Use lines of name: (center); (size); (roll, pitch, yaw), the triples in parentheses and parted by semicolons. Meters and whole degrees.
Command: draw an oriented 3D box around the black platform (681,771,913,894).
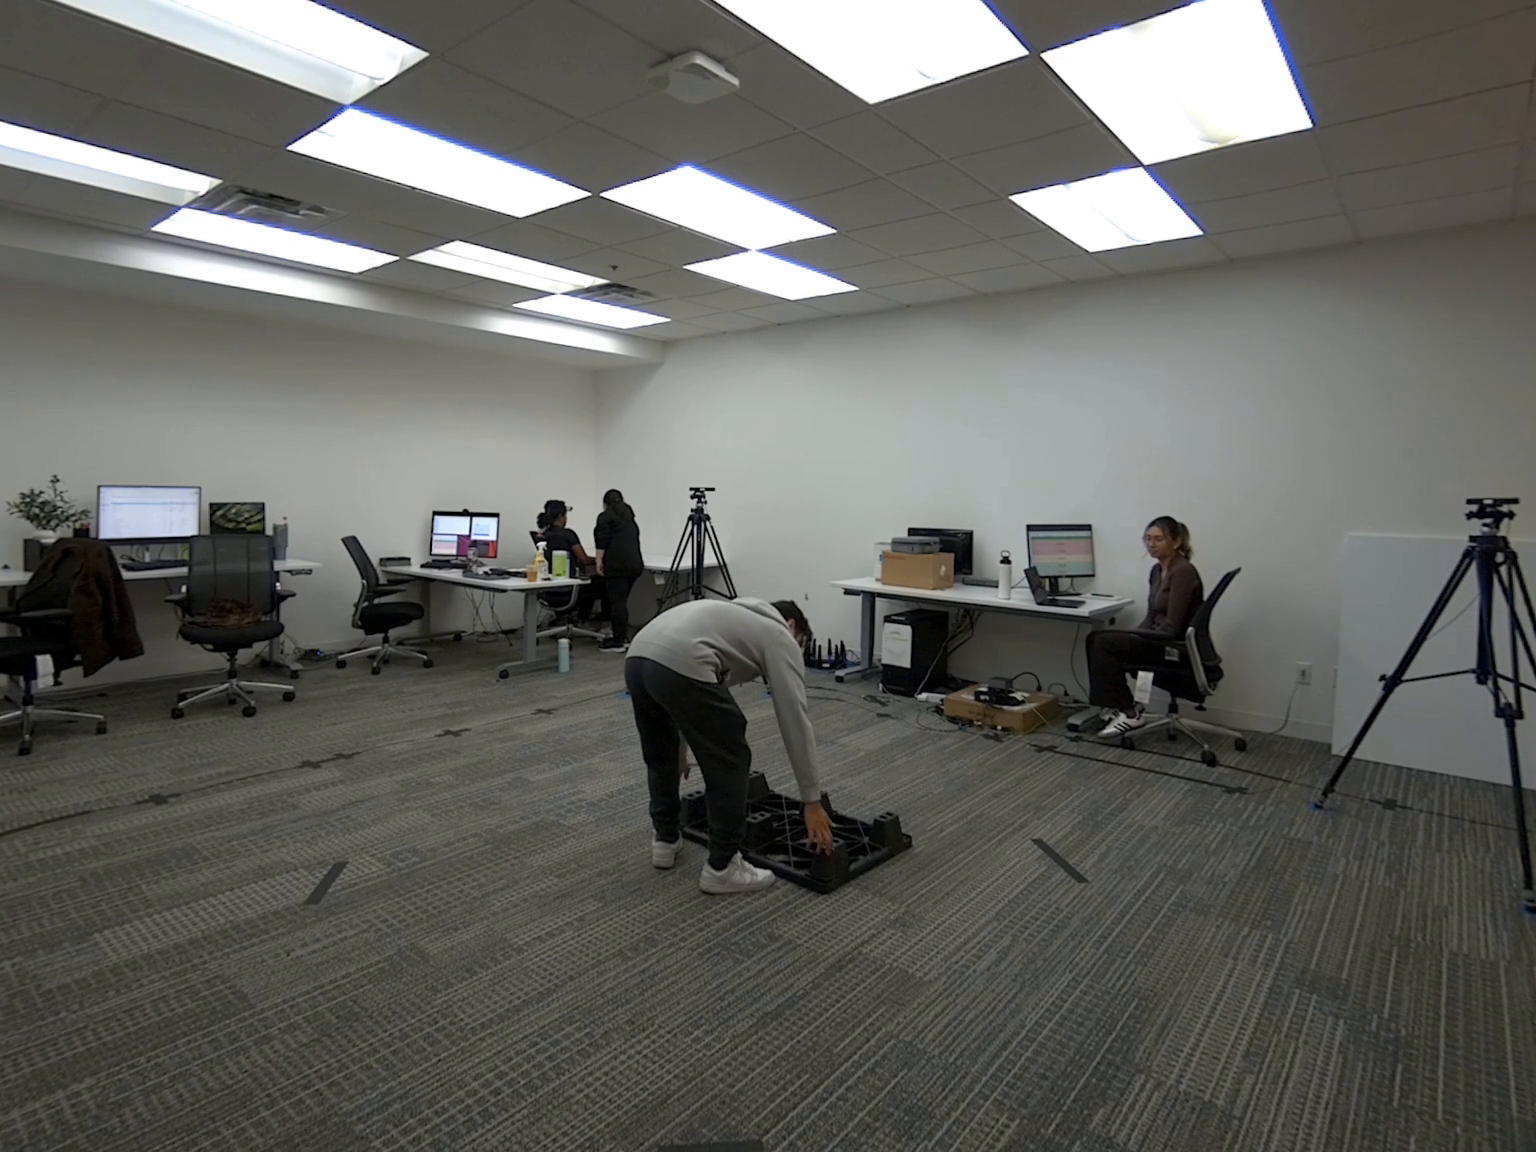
black platform: (0.065, 0.978, 3.400); (0.833, 0.143, 0.587); (6, 7, 40)
